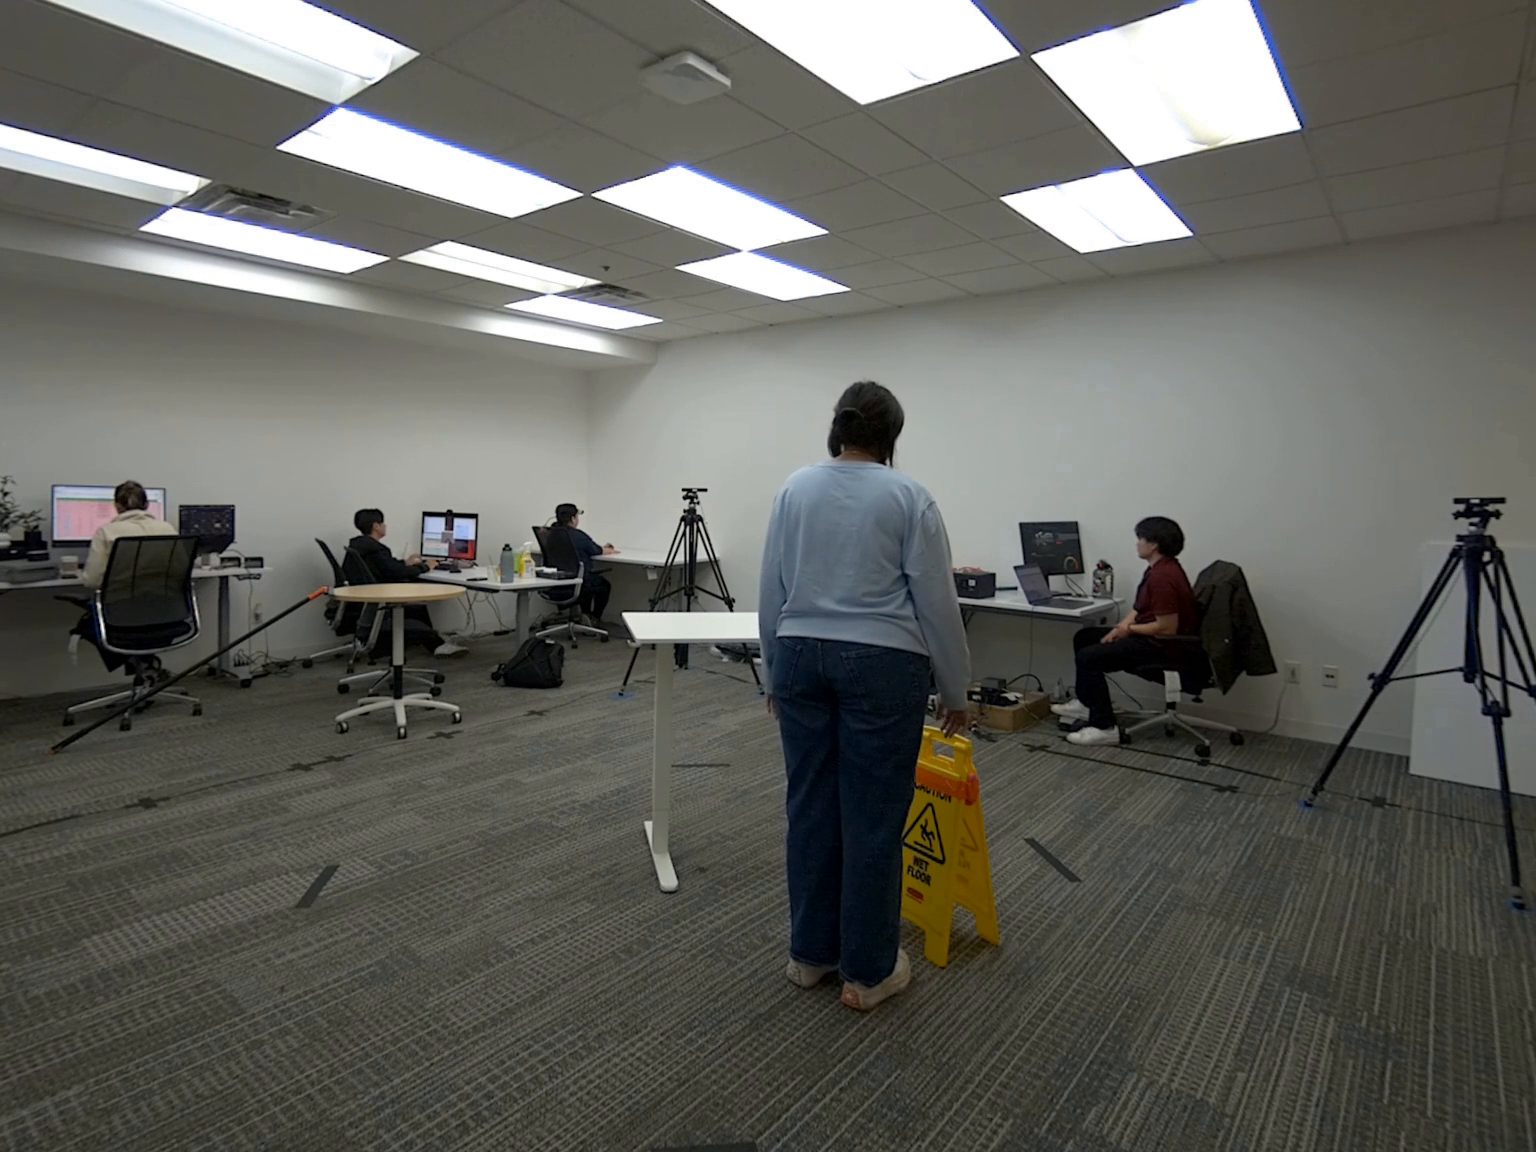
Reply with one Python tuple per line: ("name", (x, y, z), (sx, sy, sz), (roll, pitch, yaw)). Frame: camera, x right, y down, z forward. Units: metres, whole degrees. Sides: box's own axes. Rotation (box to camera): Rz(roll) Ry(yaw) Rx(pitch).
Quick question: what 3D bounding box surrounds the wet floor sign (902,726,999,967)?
("wet floor sign", (0.534, 0.807, 2.659), (0.281, 0.644, 0.291), (0, 4, -34))
